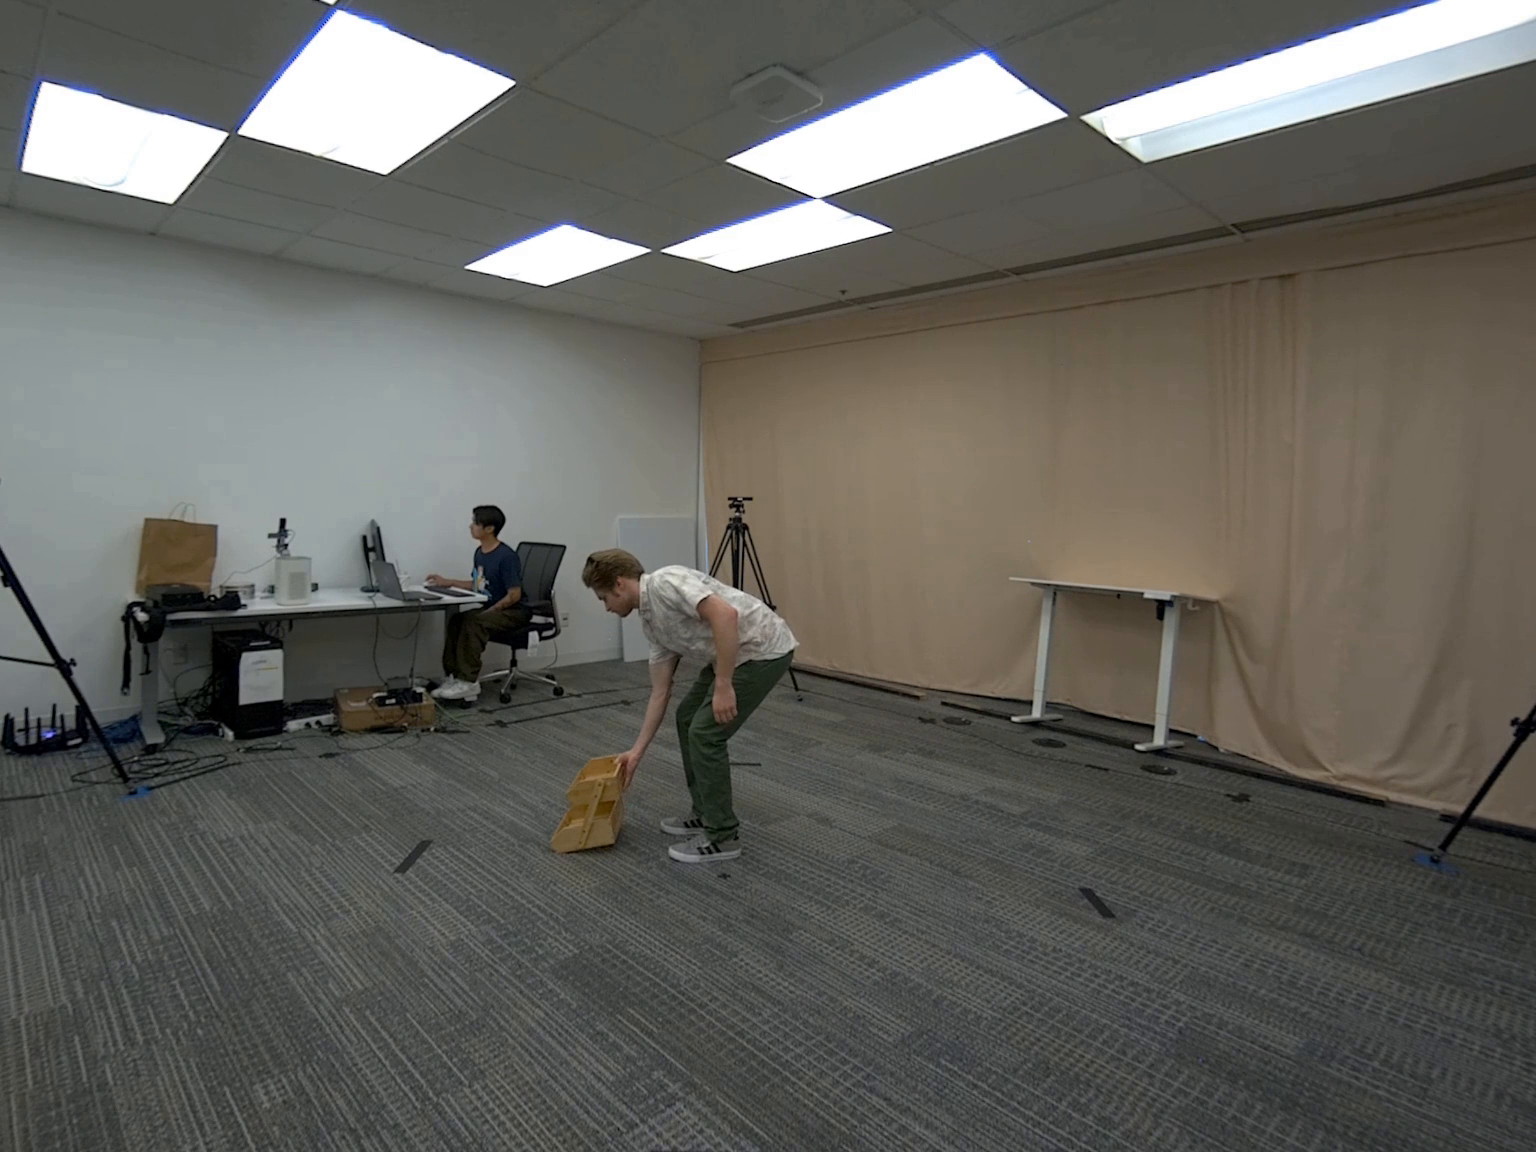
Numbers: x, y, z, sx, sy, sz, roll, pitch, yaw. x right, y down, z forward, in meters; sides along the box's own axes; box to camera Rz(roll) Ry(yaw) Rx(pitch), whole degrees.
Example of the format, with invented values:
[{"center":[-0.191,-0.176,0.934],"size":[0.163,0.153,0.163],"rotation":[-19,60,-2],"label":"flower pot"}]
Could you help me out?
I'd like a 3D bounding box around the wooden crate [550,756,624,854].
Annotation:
[{"center":[-0.735,0.910,3.410],"size":[0.302,0.272,0.325],"rotation":[-9,4,-1],"label":"wooden crate"}]
